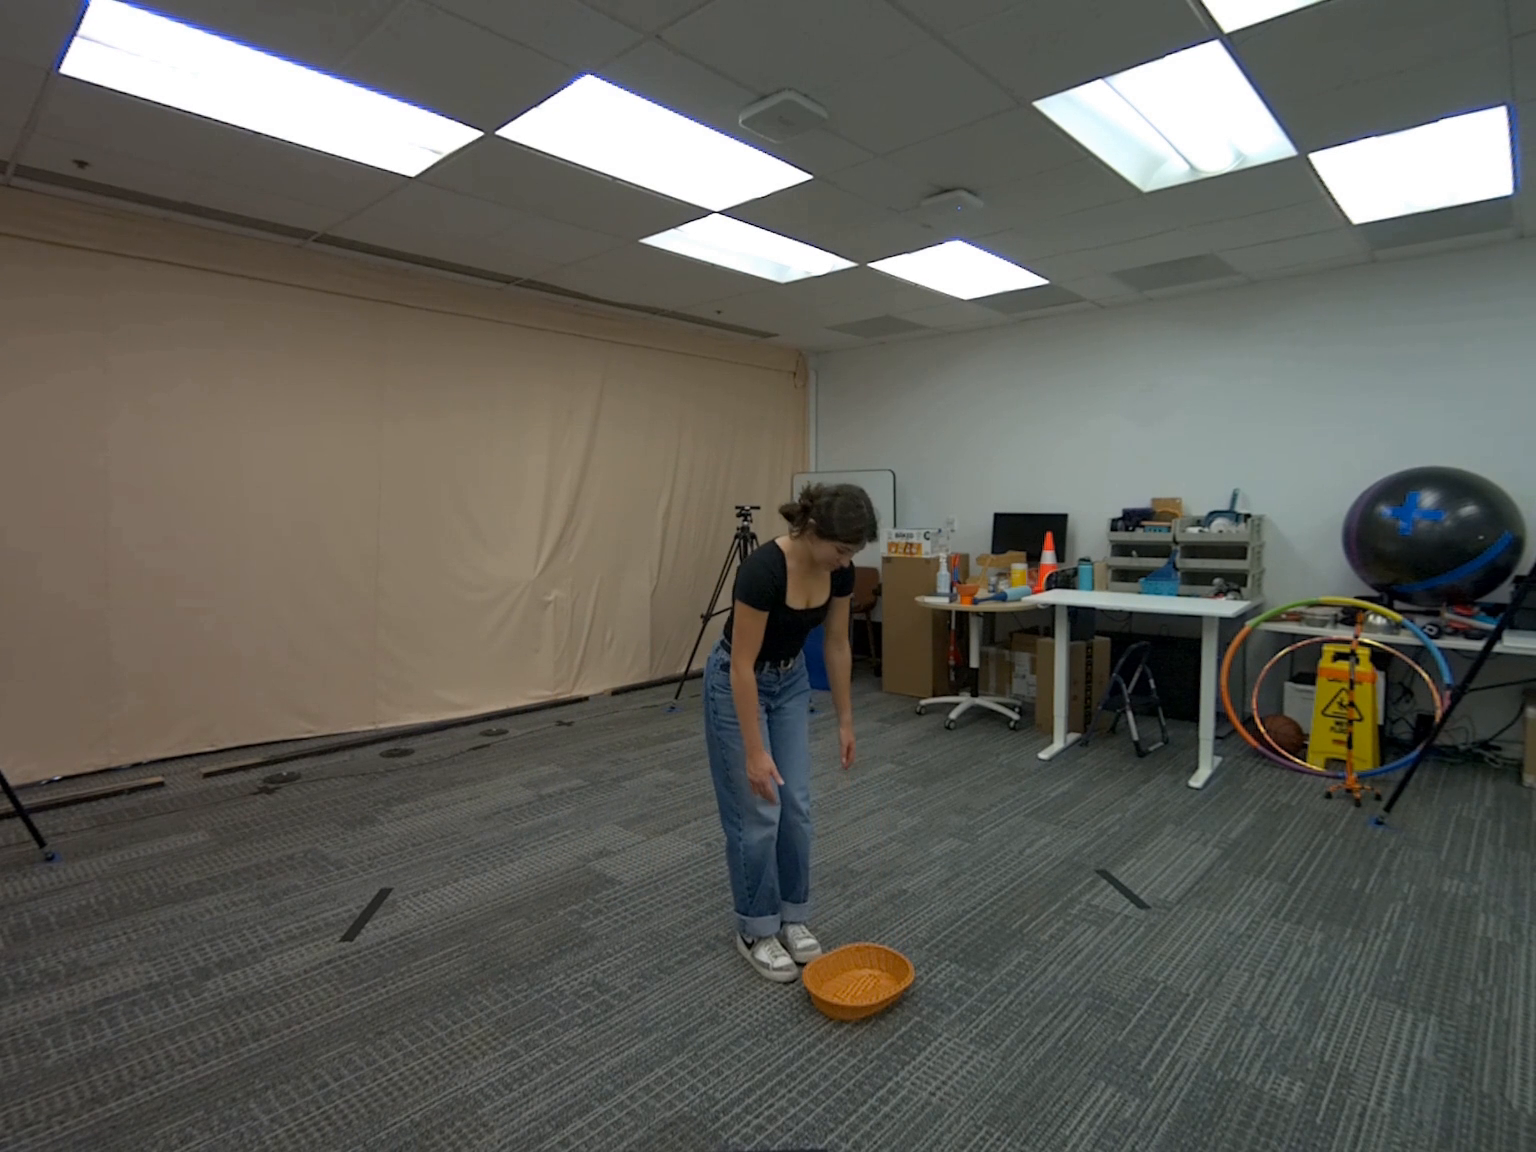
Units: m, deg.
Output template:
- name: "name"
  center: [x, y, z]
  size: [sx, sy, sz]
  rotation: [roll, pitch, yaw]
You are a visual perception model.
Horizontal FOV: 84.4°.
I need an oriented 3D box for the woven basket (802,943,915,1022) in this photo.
- name: "woven basket"
  center: [0.260, 1.156, 2.389]
  size: [0.340, 0.073, 0.261]
  rotation: [-3, 7, -37]
